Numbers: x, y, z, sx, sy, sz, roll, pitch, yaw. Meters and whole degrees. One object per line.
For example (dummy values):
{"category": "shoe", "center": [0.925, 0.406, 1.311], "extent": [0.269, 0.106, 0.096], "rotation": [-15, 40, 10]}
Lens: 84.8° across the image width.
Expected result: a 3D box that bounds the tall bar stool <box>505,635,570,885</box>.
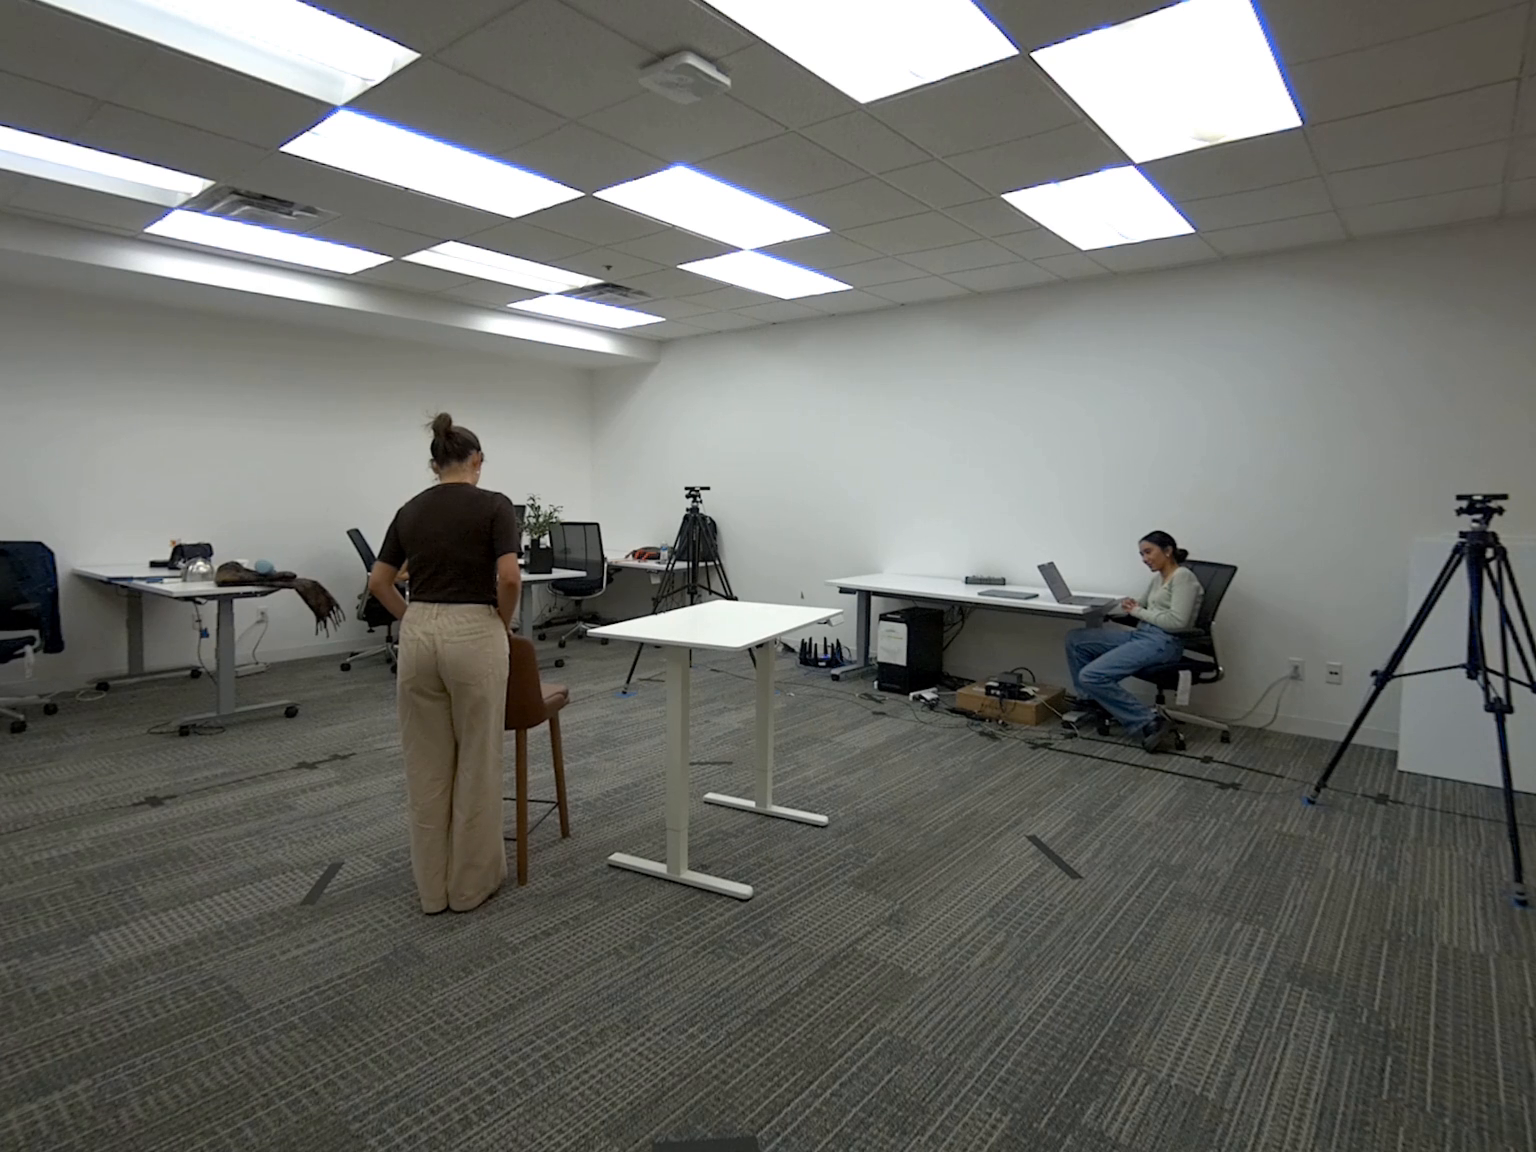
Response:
{"category": "tall bar stool", "center": [-1.020, 0.614, 3.171], "extent": [0.461, 0.885, 0.466], "rotation": [0, 5, 8]}
